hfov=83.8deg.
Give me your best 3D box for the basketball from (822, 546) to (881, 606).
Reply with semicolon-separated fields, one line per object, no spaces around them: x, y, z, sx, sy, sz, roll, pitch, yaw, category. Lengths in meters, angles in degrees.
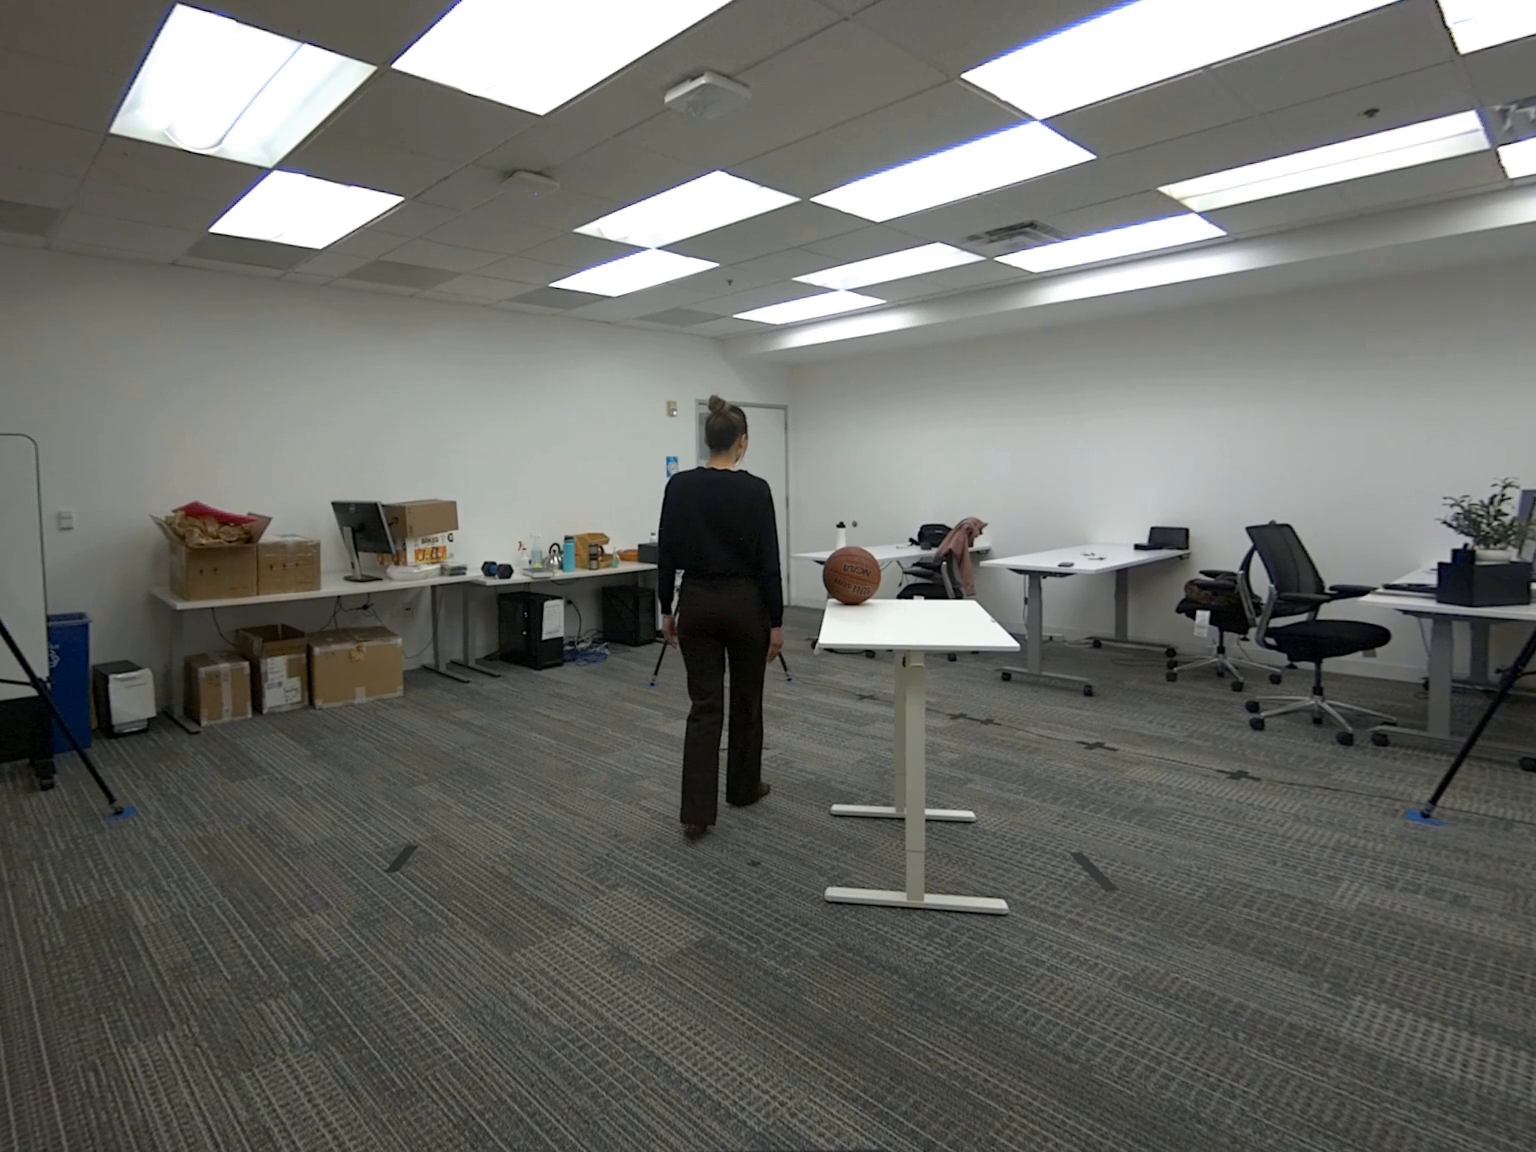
0.333;-0.001;3.479;0.236;0.235;0.237;-1;5;-2;basketball
